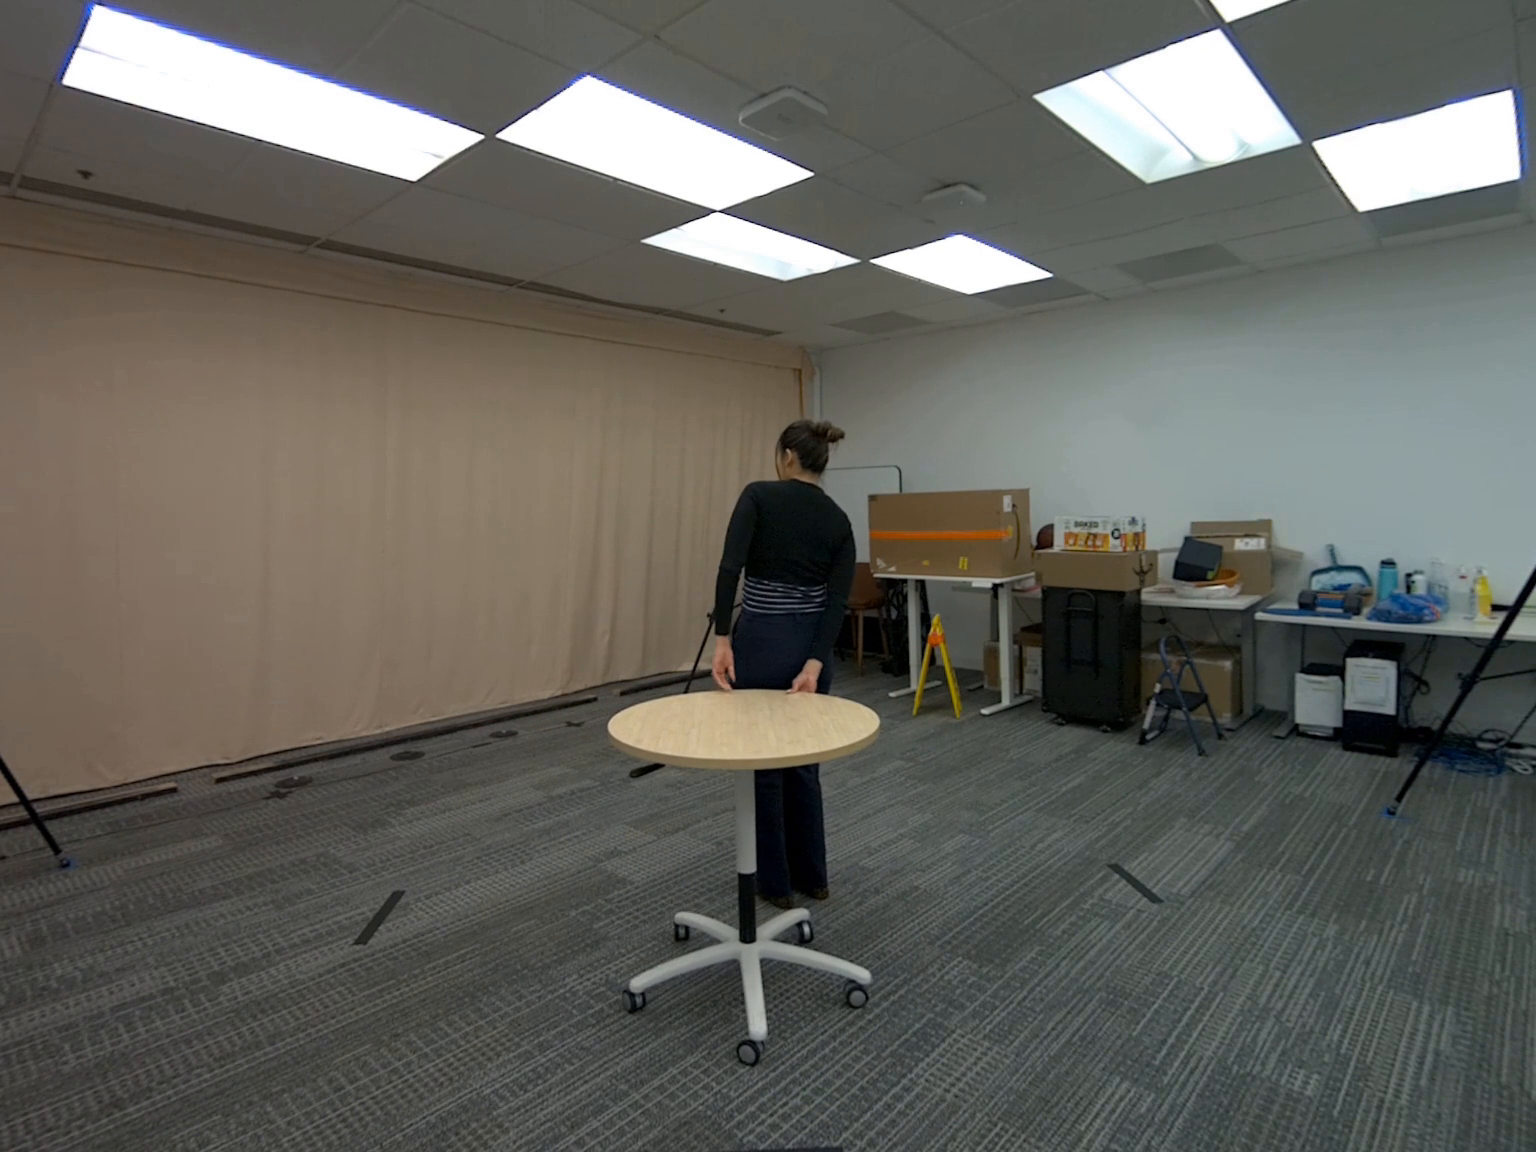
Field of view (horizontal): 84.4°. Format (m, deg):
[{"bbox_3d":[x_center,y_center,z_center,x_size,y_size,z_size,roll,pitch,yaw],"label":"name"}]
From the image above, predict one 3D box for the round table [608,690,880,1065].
[{"bbox_3d":[-0.063,0.802,2.410,0.763,0.792,0.767,-2,4,-2],"label":"round table"}]
